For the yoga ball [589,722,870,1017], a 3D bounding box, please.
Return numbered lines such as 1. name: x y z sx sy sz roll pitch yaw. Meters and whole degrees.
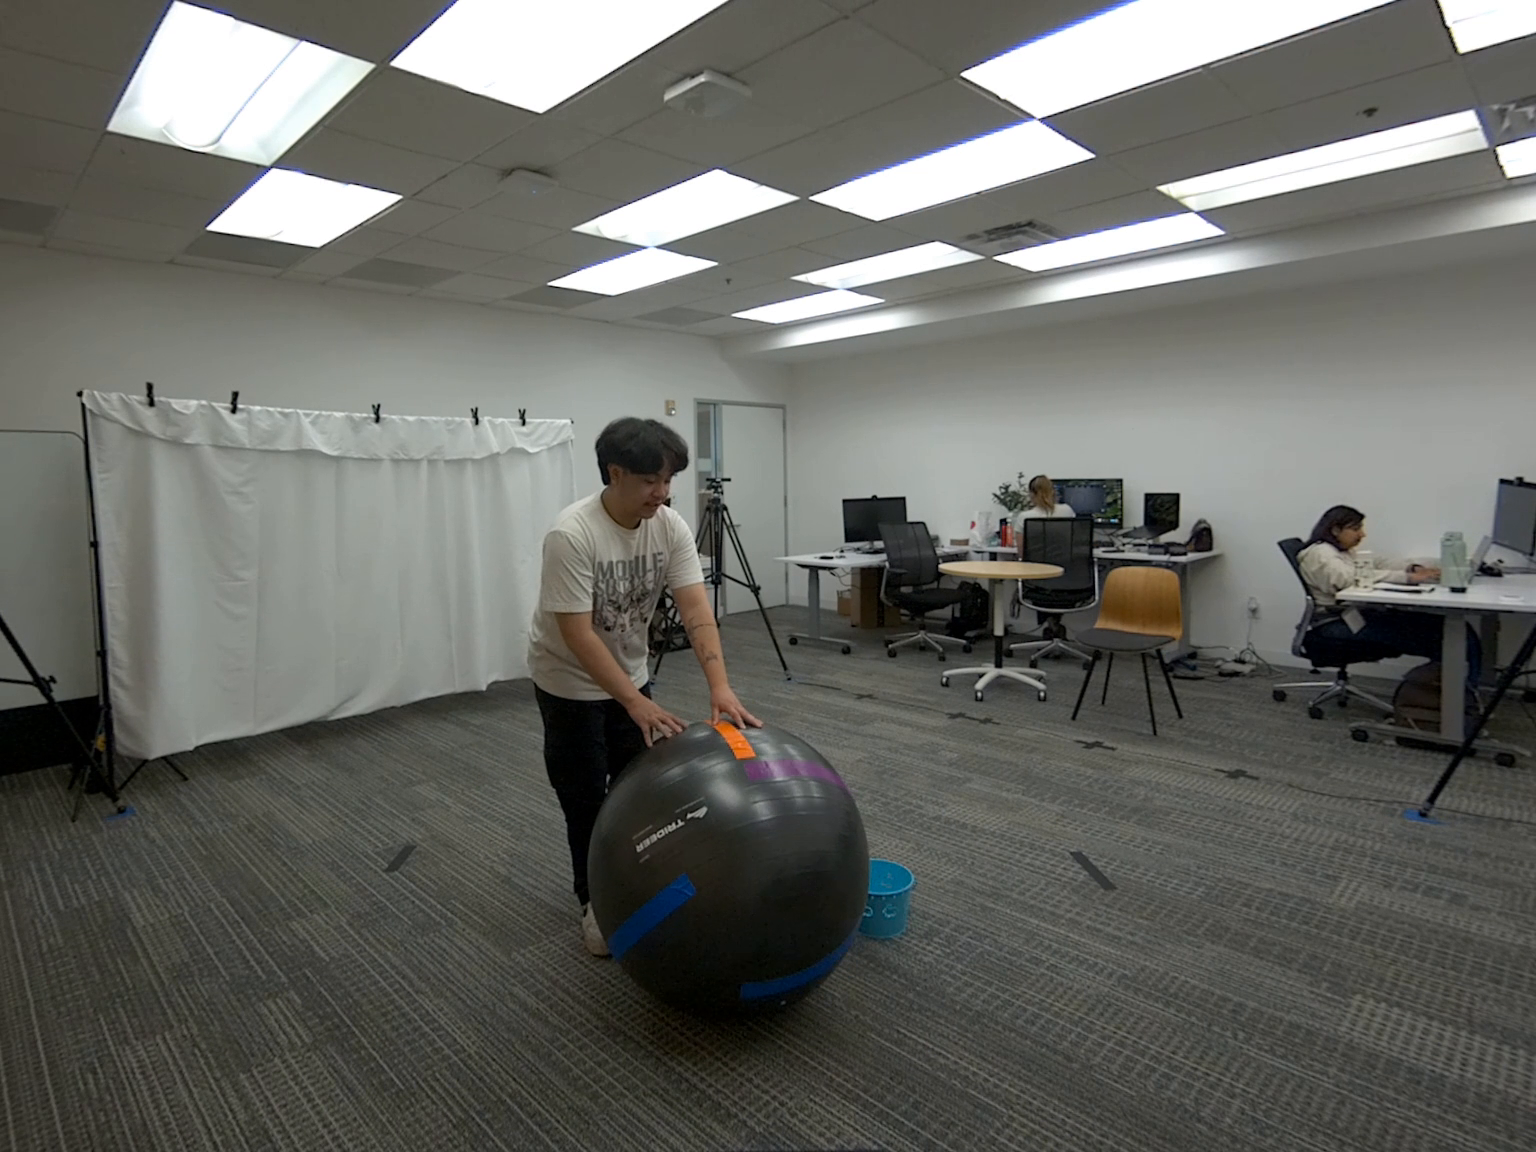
1. yoga ball: -0.104 0.784 2.302 0.757 0.755 0.762 -1 5 -2
